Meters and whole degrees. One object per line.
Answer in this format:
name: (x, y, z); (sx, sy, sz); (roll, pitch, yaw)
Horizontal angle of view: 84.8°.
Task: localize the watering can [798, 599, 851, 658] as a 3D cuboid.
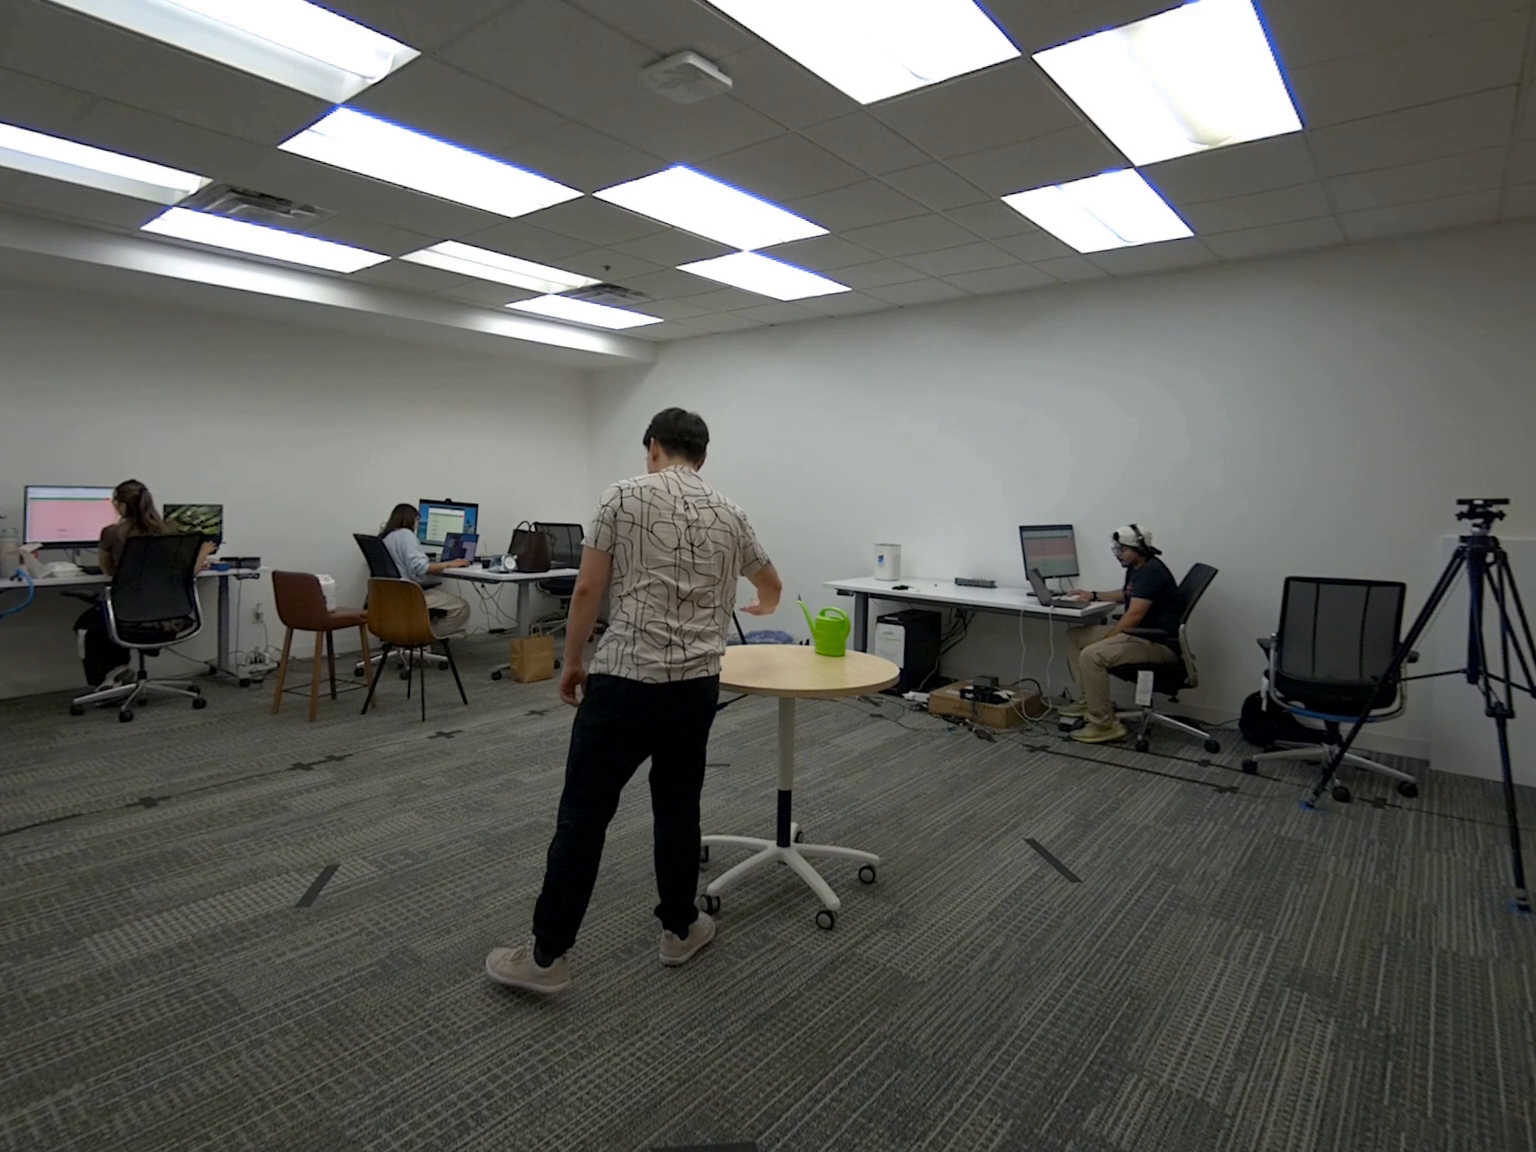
watering can: (0.199, 0.192, 3.221); (0.096, 0.175, 0.287); (-5, 10, -24)
